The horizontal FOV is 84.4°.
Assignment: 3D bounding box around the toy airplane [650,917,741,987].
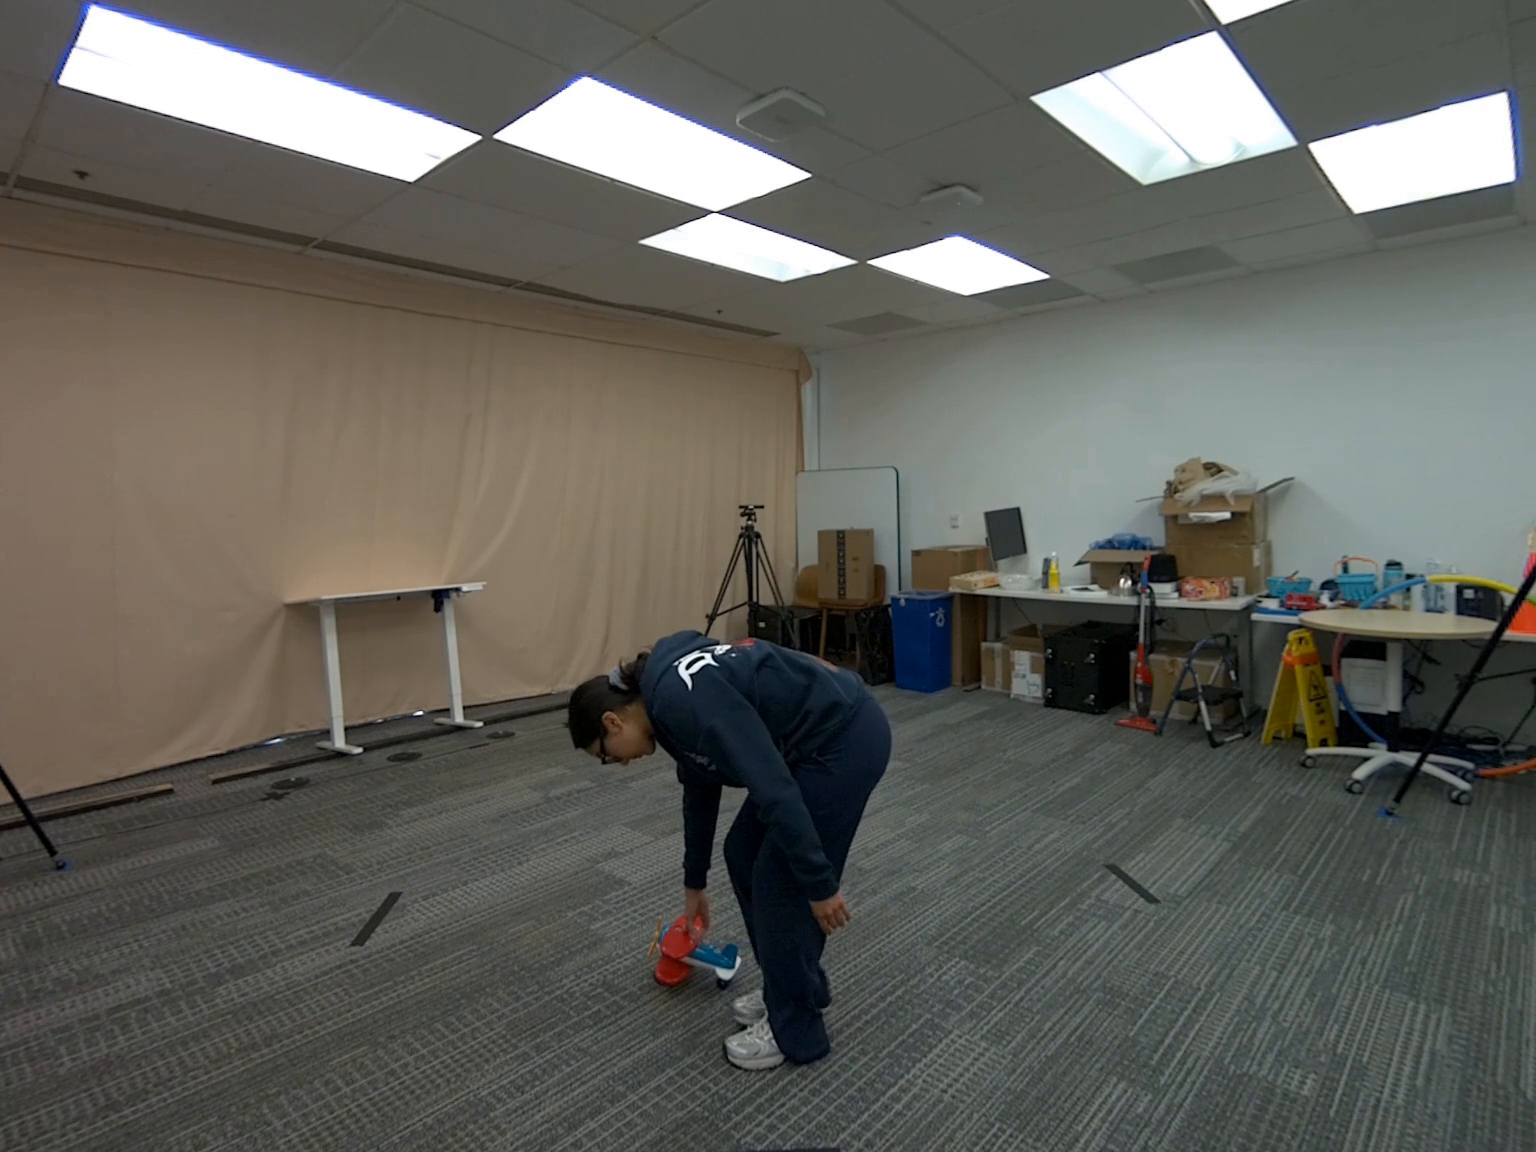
[{"bbox_3d":[-0.210,1.116,2.492,0.256,0.156,0.255,-3,6,-13],"label":"toy airplane"}]
